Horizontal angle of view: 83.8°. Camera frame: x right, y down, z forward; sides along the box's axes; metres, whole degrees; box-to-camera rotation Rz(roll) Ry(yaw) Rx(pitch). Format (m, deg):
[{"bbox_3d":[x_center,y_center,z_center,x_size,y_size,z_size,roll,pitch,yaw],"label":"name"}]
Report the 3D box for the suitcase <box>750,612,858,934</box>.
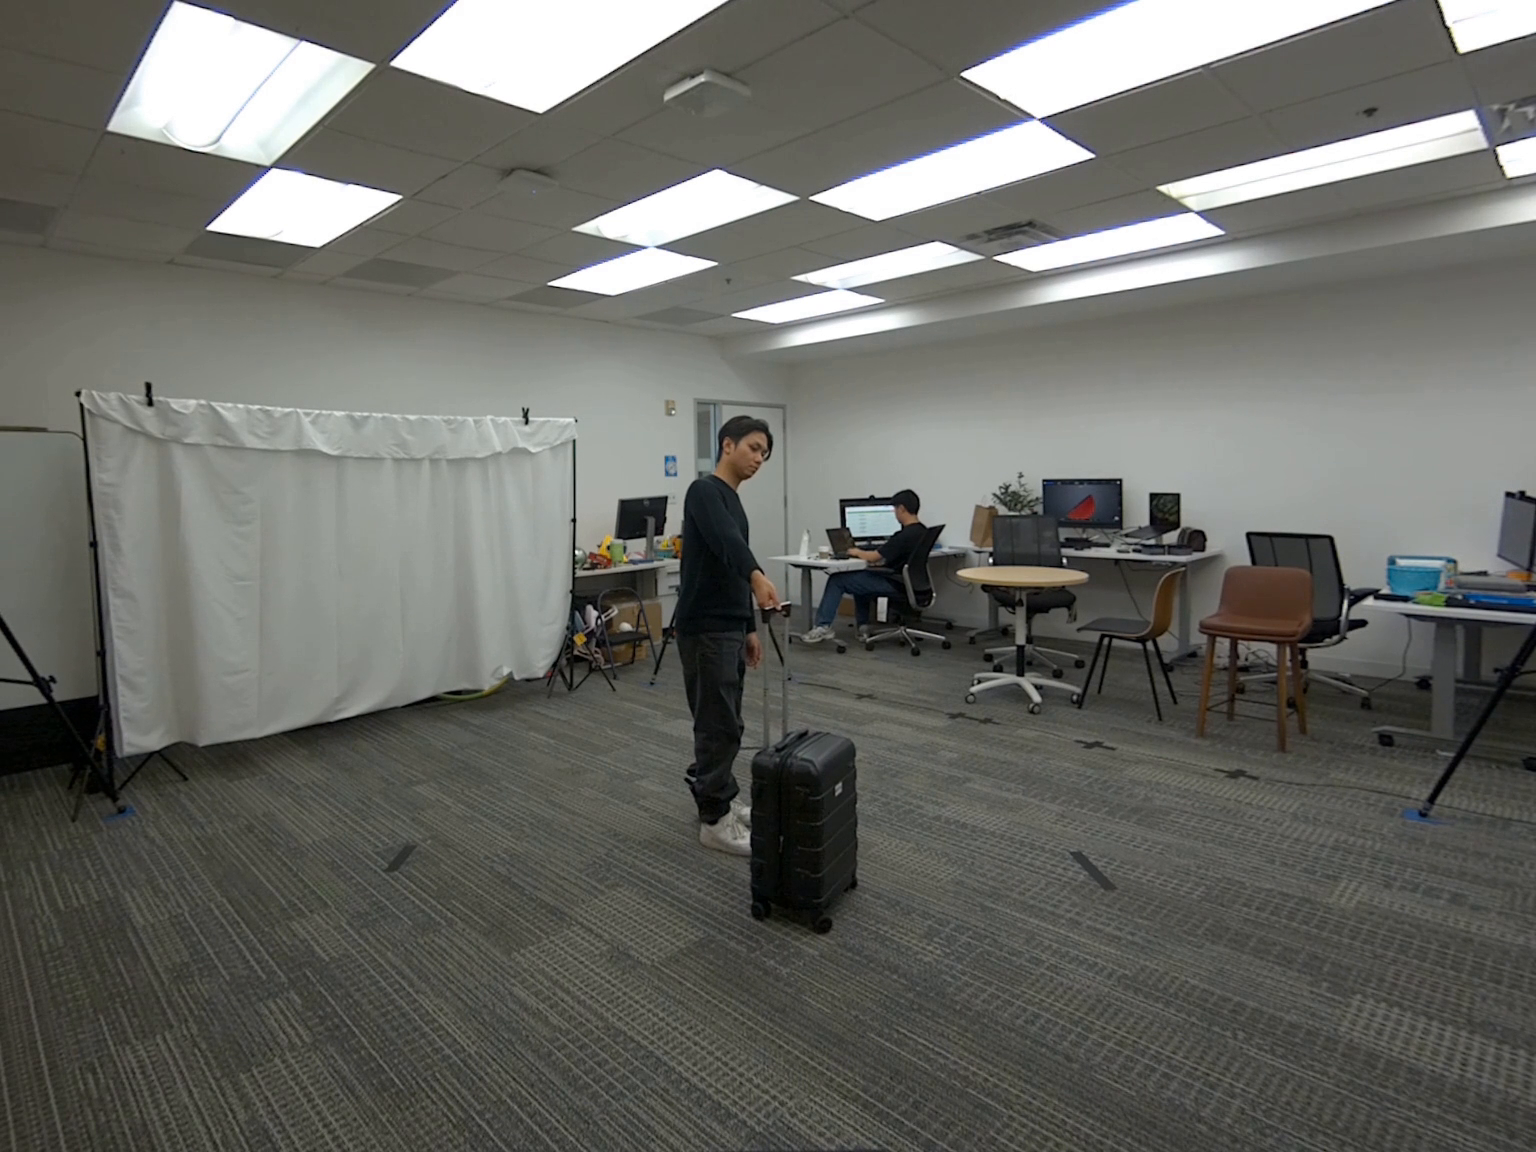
[{"bbox_3d":[0.136,0.602,2.769,0.263,0.974,0.376,4,6,26],"label":"suitcase"}]
